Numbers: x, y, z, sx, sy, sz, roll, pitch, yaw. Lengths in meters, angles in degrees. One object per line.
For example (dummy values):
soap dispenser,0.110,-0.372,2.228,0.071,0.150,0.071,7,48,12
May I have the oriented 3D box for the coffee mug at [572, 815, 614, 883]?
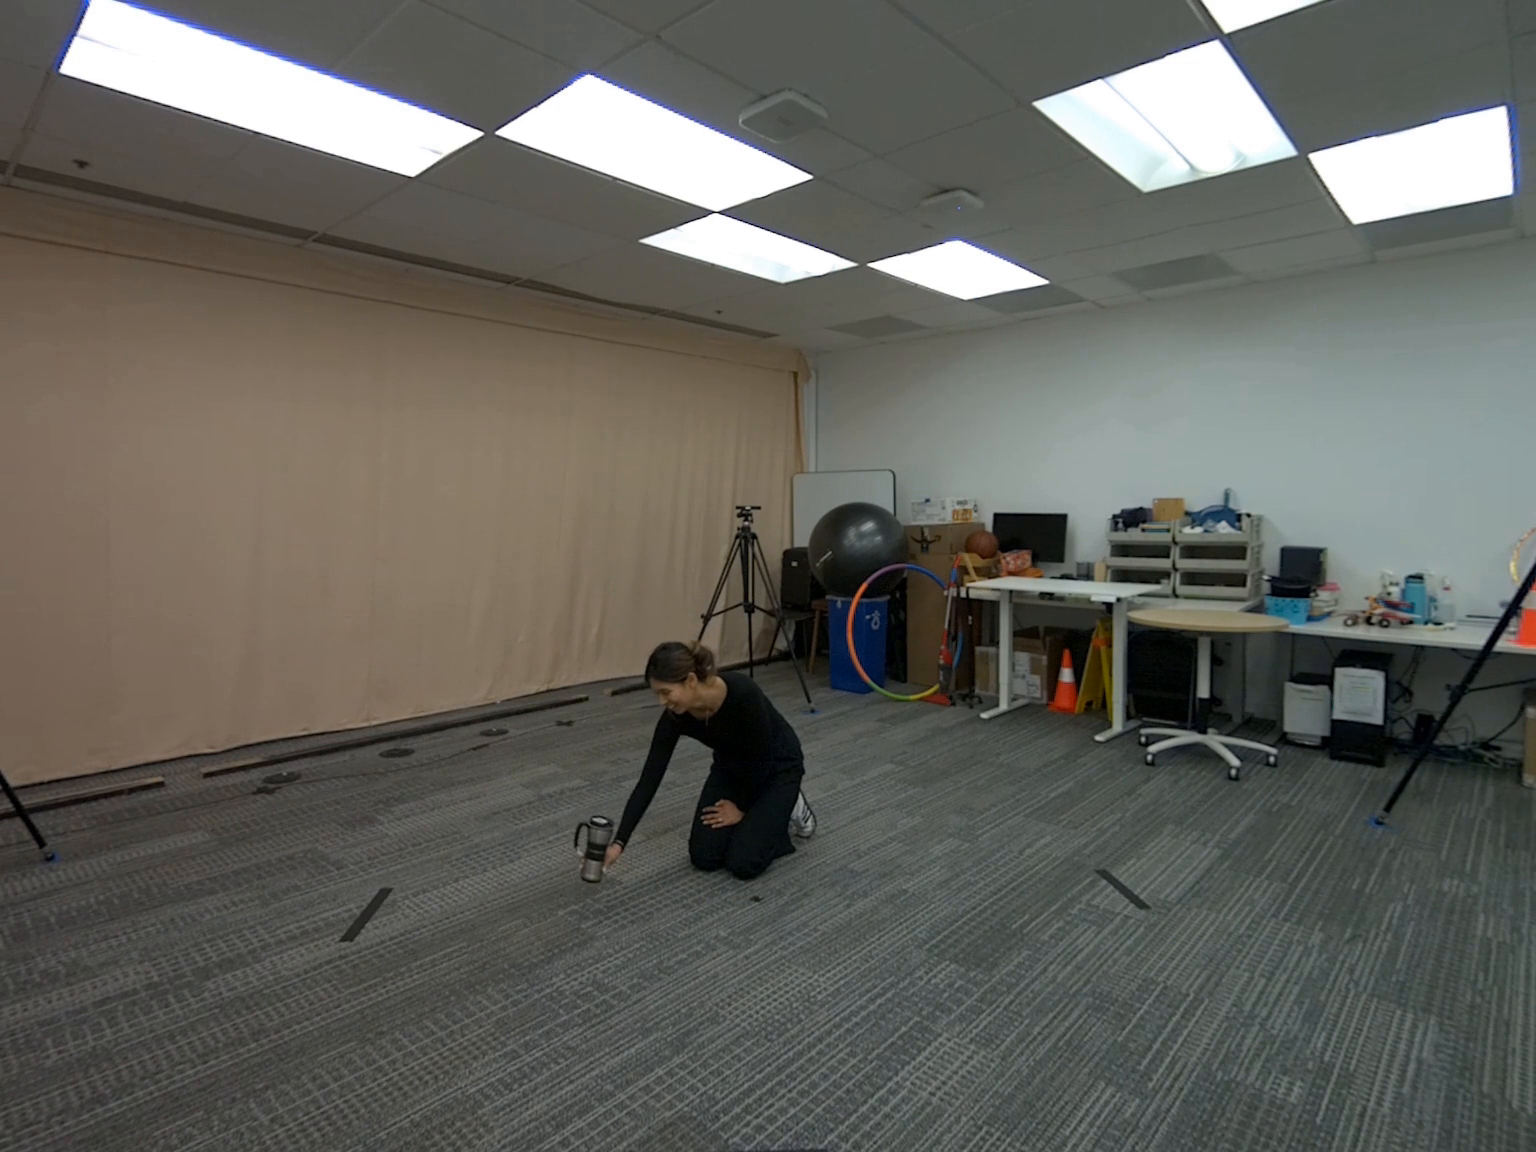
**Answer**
coffee mug,-0.605,0.933,2.882,0.124,0.203,0.086,11,-1,13
